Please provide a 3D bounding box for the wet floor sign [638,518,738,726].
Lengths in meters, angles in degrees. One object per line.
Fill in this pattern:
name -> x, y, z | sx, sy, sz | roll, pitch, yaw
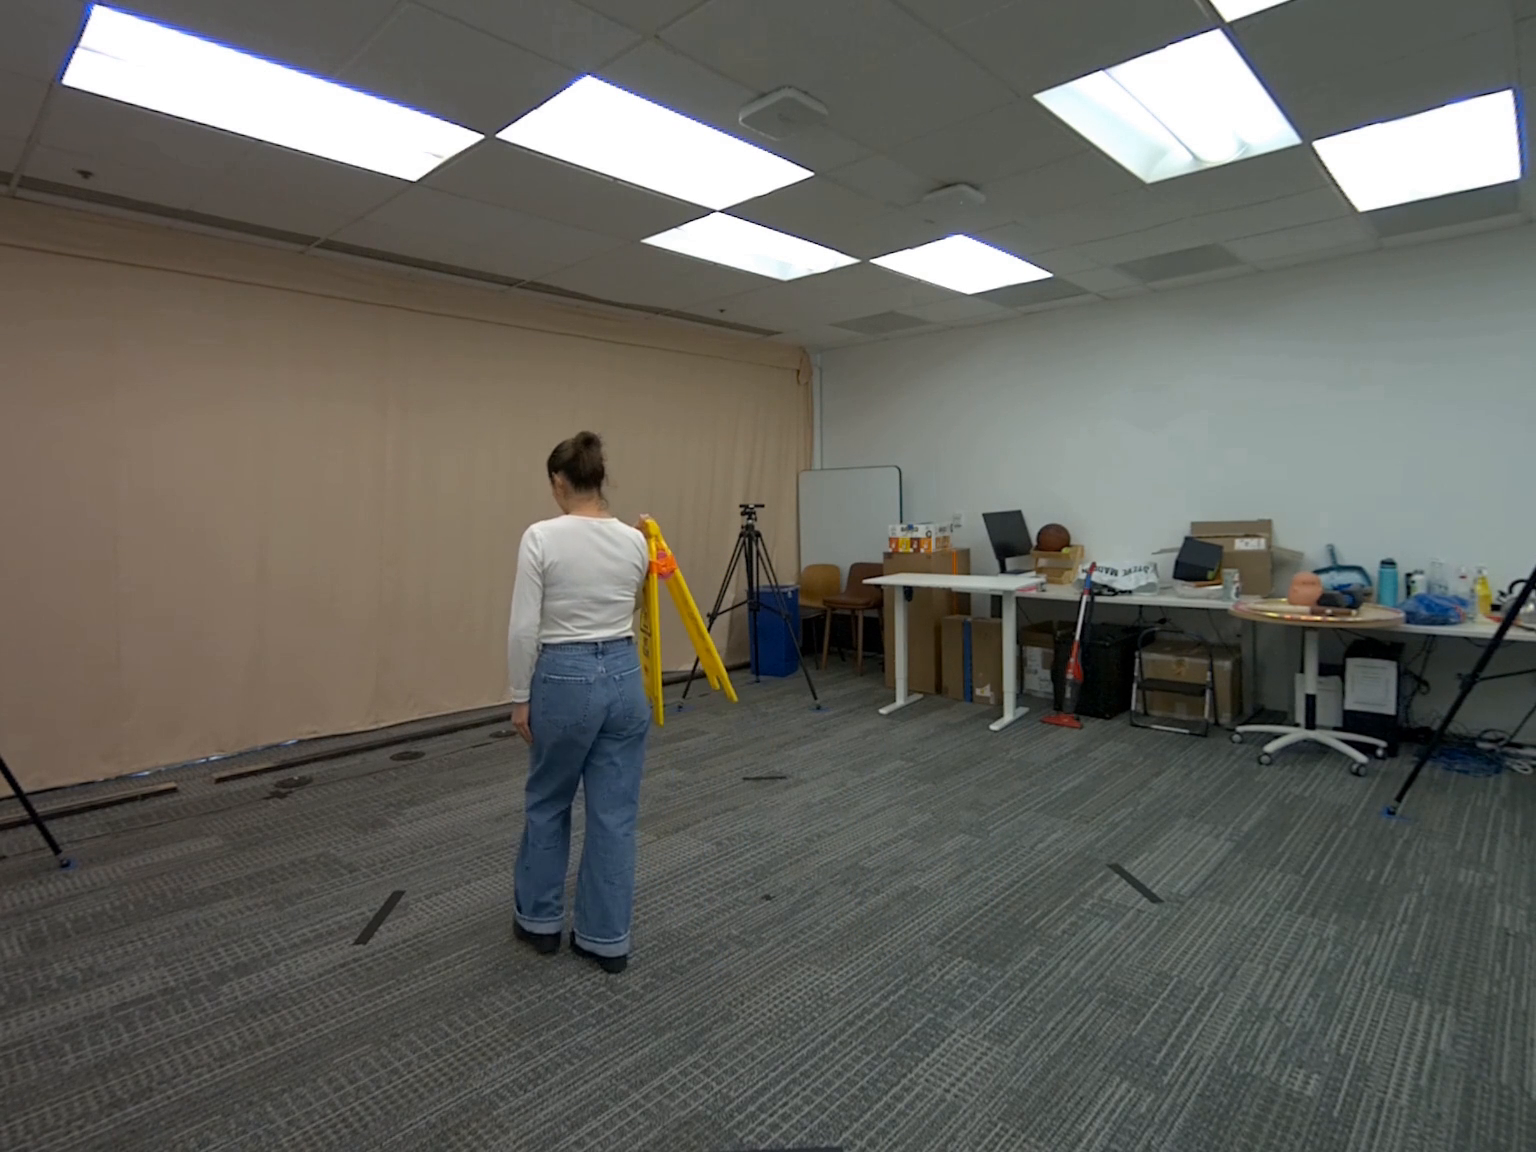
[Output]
wet floor sign -> -0.337, 0.129, 2.820 | 0.285, 0.643, 0.288 | -15, 6, -18
